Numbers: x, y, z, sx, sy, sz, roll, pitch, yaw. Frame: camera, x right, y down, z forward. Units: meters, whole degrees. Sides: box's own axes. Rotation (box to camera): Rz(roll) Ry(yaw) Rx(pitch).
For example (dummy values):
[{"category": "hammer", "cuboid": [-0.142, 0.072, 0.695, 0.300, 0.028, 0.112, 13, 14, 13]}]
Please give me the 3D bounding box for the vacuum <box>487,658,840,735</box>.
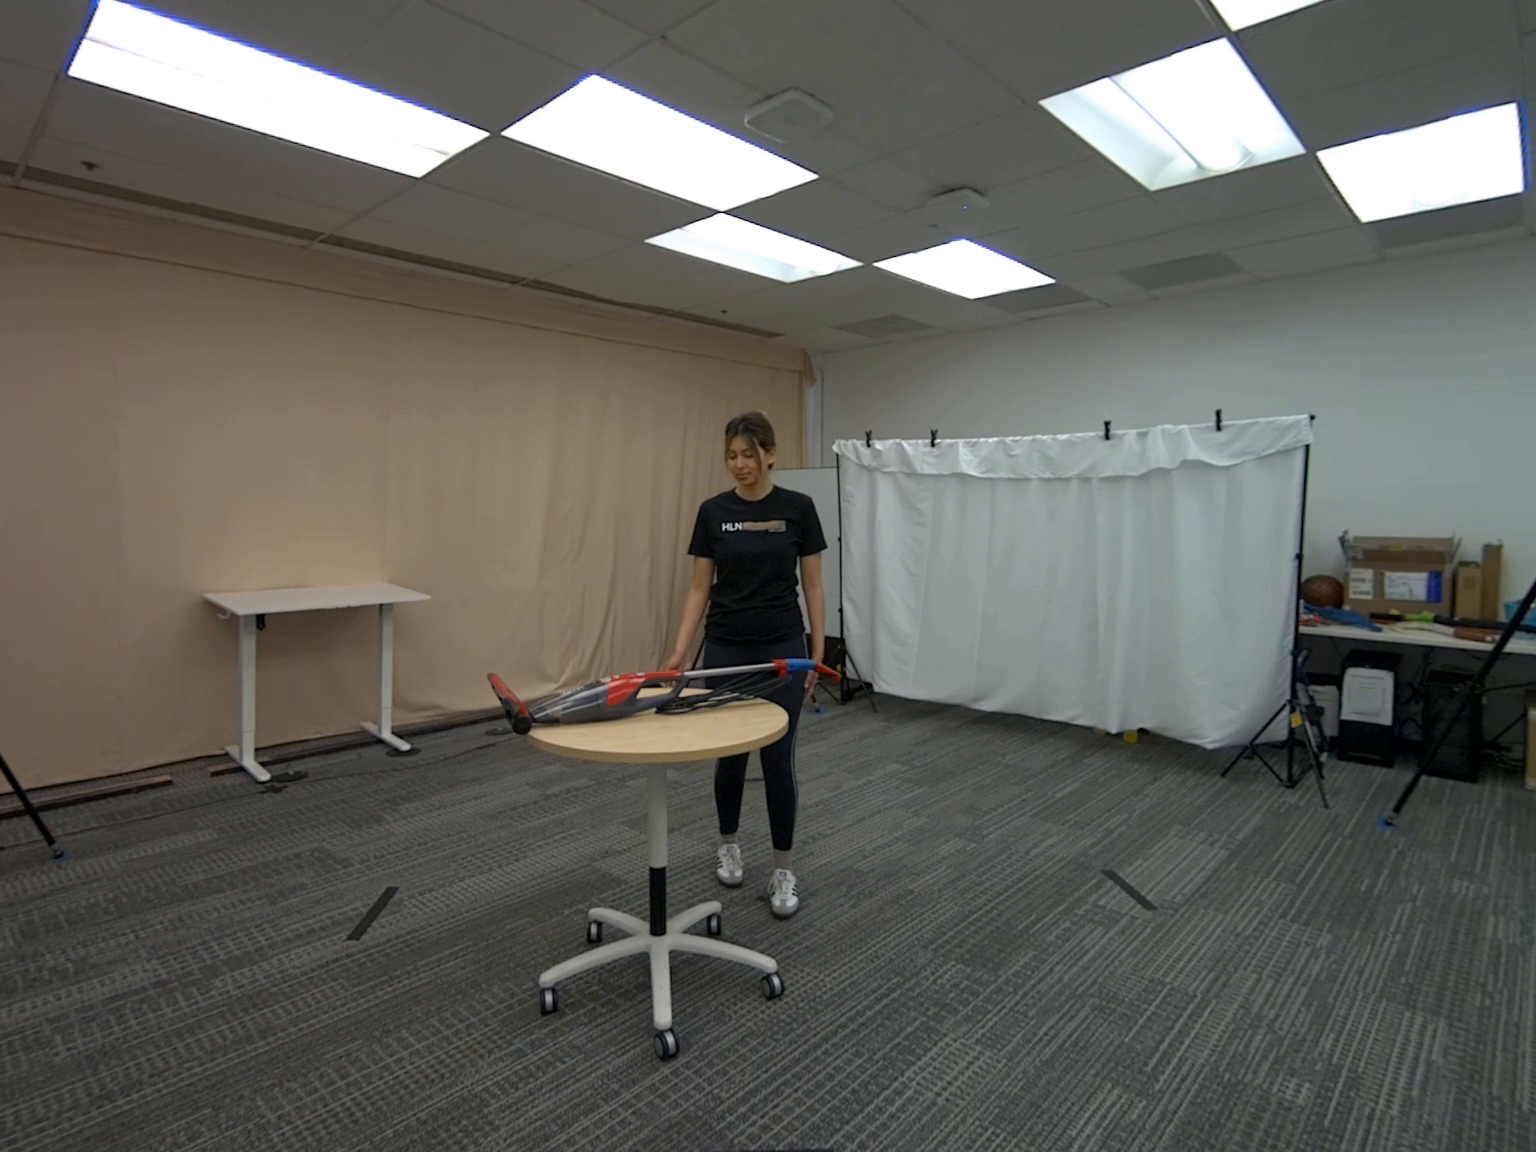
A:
[{"category": "vacuum", "cuboid": [-0.259, 0.356, 2.482, 1.026, 0.143, 0.259, -1, 9, -23]}]
